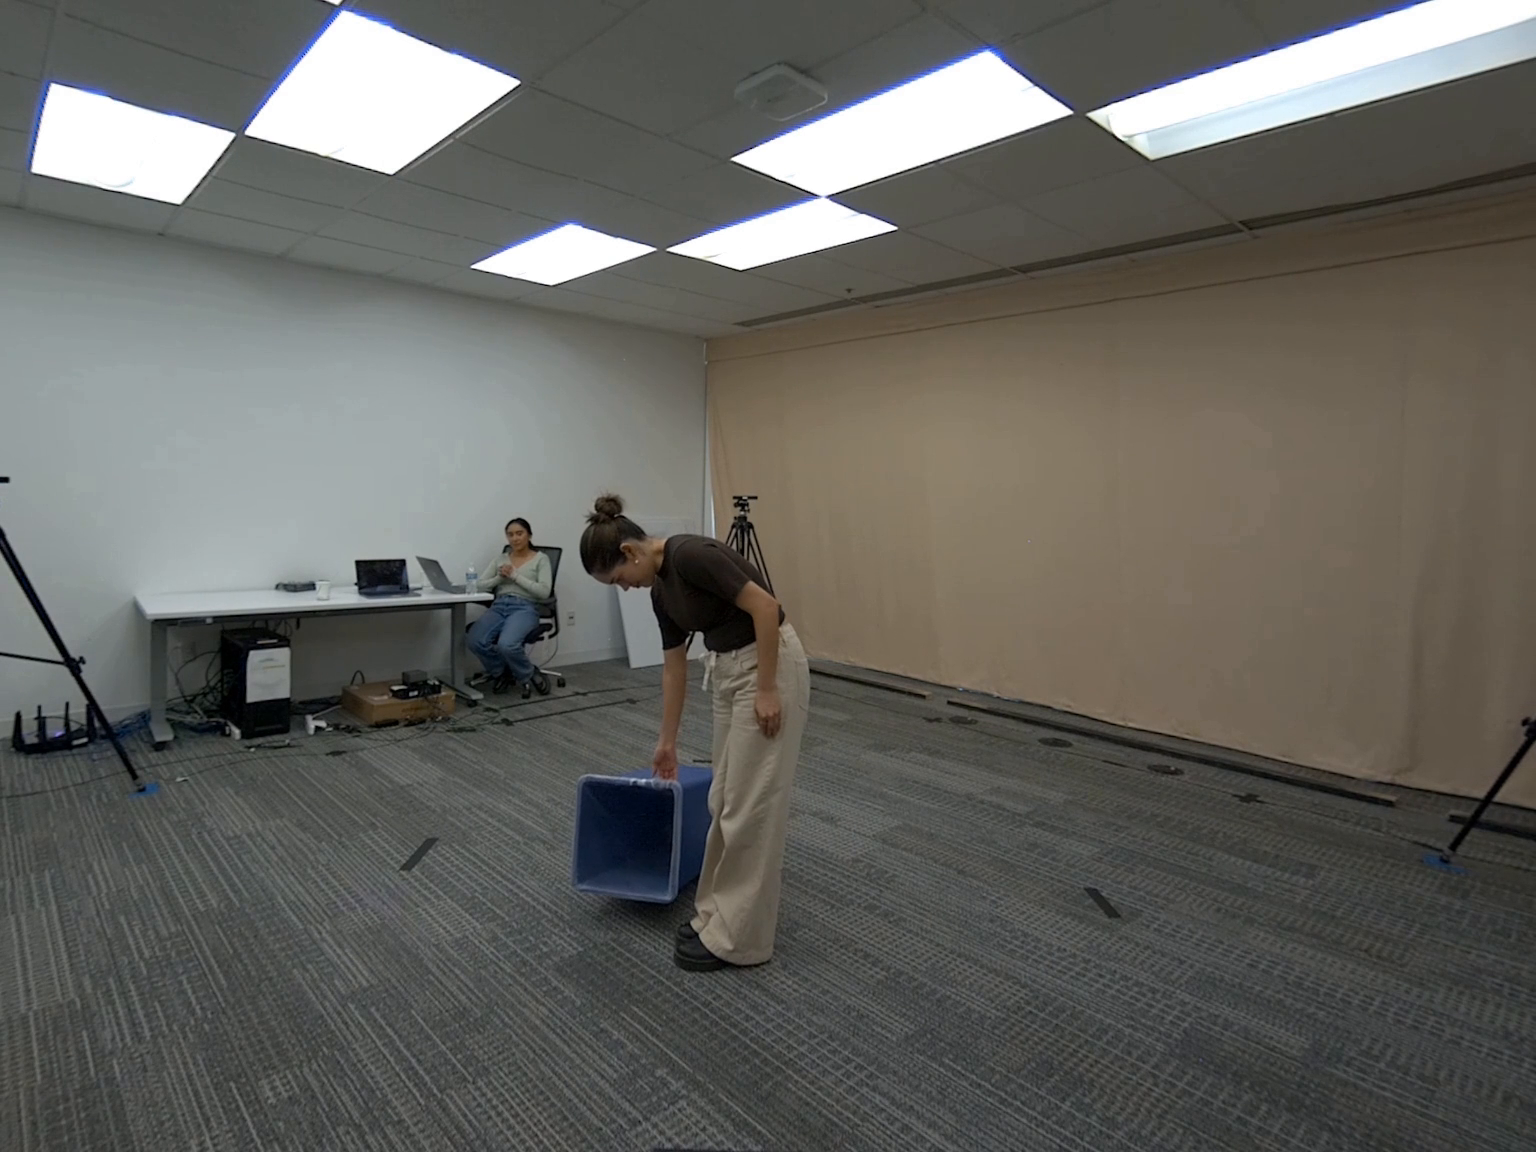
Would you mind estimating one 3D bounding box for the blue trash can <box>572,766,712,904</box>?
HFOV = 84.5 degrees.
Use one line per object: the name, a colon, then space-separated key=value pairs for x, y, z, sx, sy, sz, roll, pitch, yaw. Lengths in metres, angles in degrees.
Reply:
blue trash can: x=-0.372 y=0.887 z=3.040 sx=0.383 sy=0.376 sz=0.699 roll=0 pitch=-7 yaw=18
